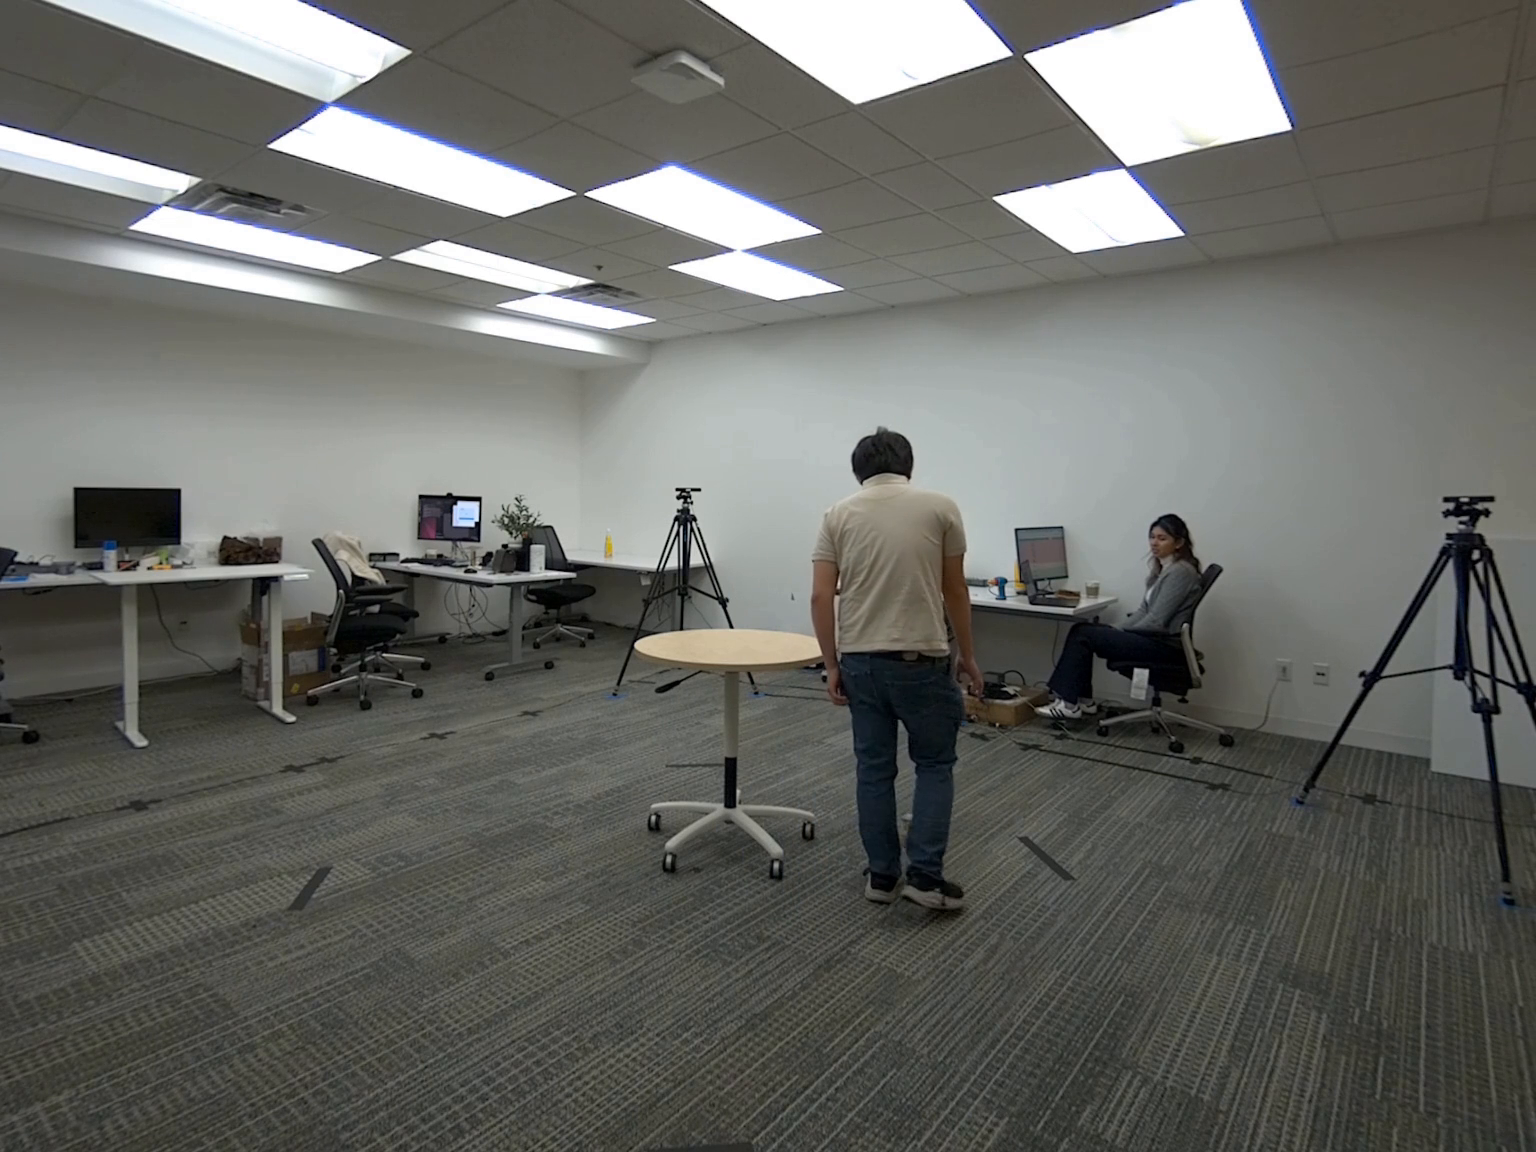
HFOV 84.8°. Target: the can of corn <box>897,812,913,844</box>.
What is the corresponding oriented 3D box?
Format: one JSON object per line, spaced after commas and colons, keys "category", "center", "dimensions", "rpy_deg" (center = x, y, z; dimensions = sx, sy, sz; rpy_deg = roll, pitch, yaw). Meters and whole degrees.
{"category": "can of corn", "center": [0.552, 1.000, 3.361], "dimensions": [0.074, 0.110, 0.074], "rpy_deg": [4, 5, -2]}
